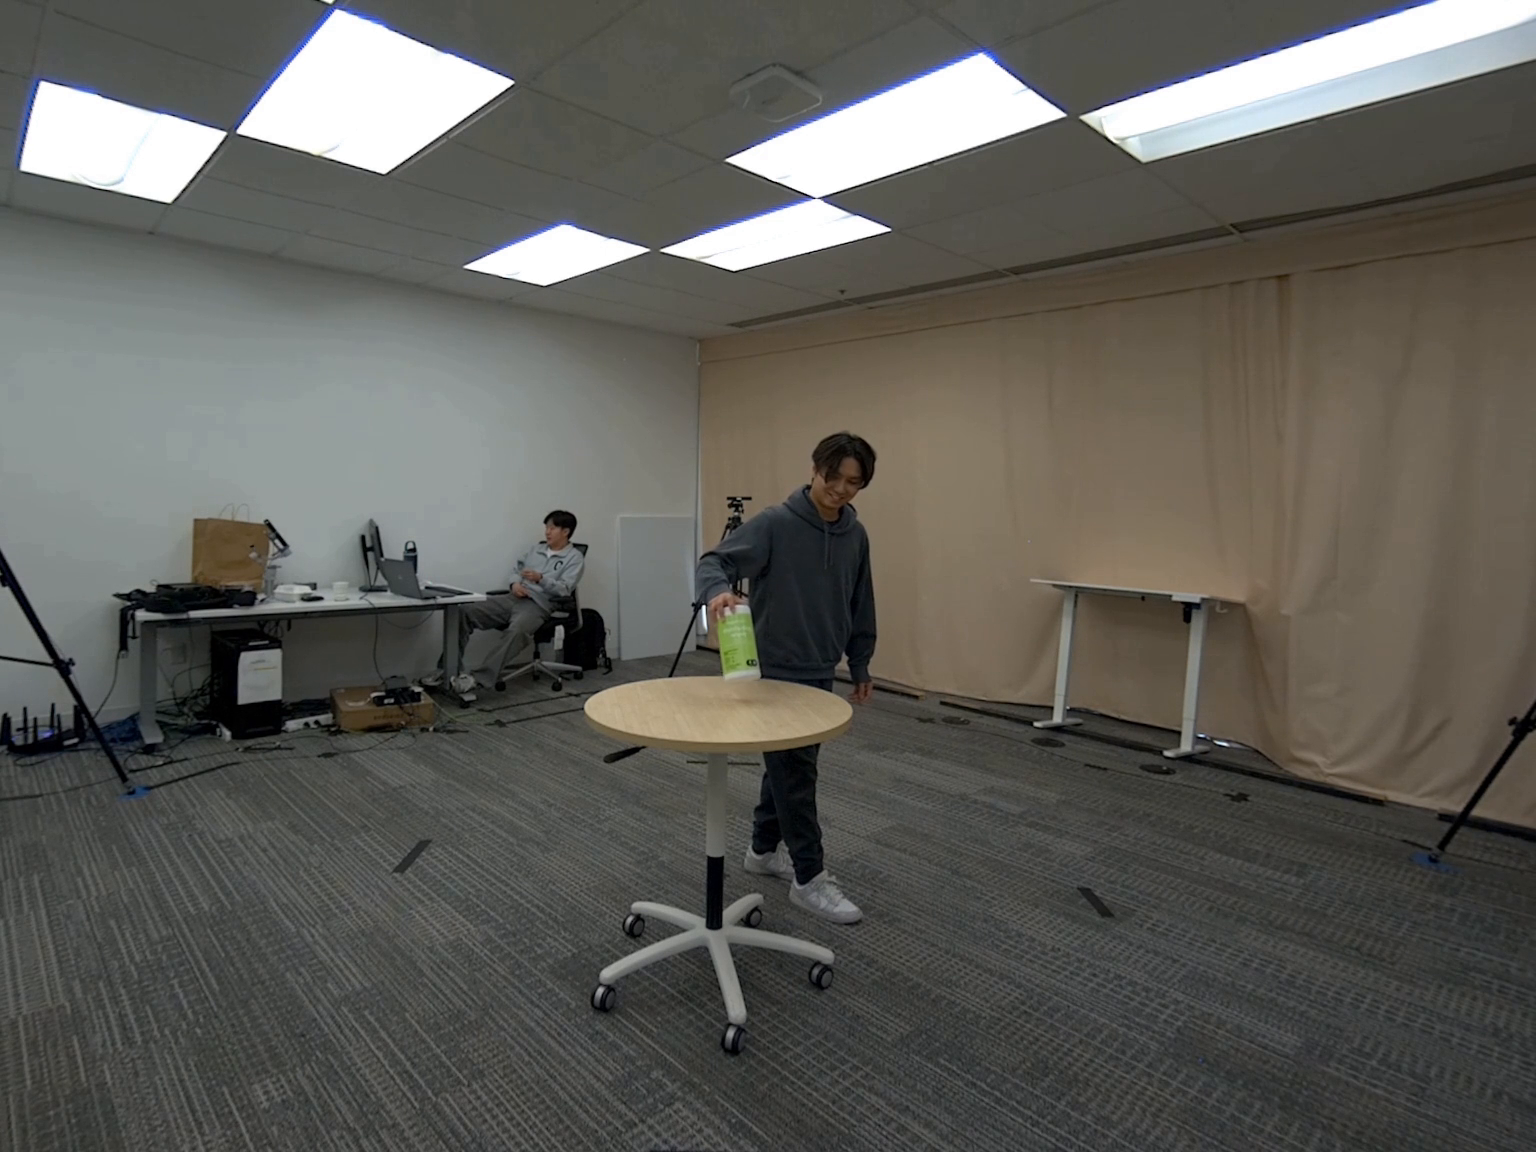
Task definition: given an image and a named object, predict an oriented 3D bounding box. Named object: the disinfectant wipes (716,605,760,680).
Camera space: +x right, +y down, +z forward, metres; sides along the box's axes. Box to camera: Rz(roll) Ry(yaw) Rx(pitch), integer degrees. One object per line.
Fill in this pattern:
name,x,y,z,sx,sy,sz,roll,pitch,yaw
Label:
disinfectant wipes,-0.103,0.207,2.490,0.117,0.220,0.116,-6,-15,-3
